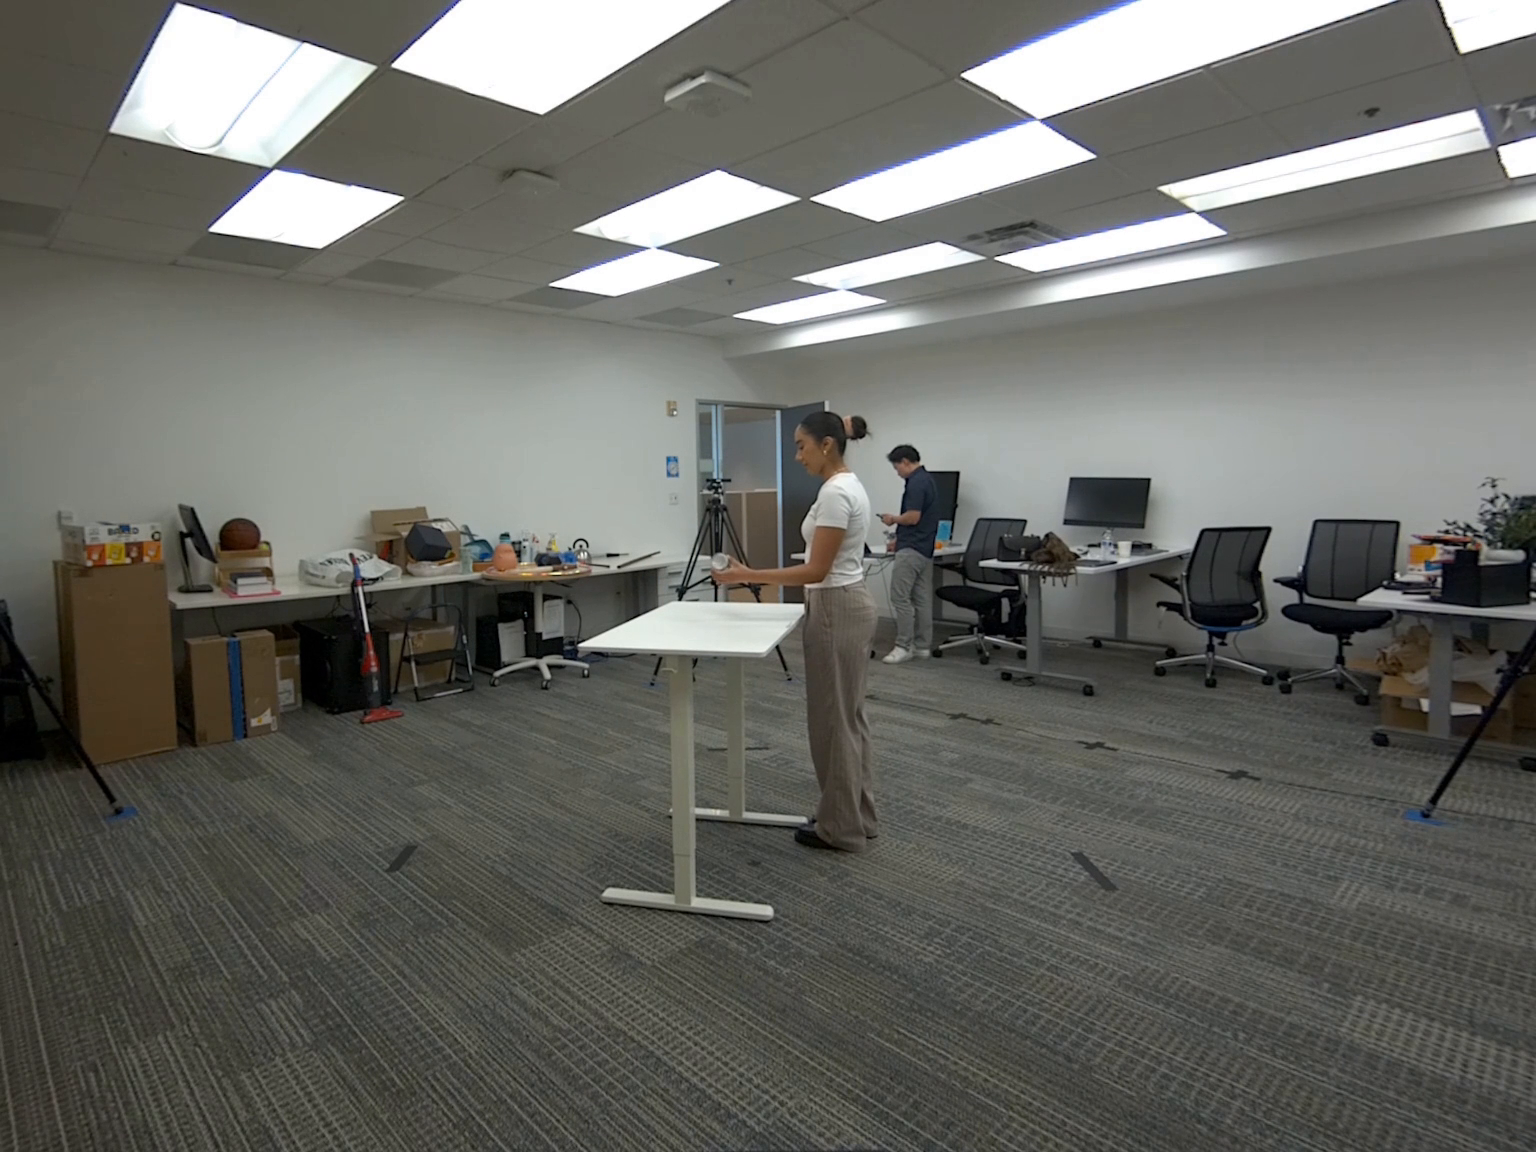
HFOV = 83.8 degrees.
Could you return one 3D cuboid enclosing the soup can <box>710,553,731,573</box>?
[{"bbox_3d":[-0.170,-0.046,3.150,0.067,0.068,0.119,0,-13,5],"label":"soup can"}]
